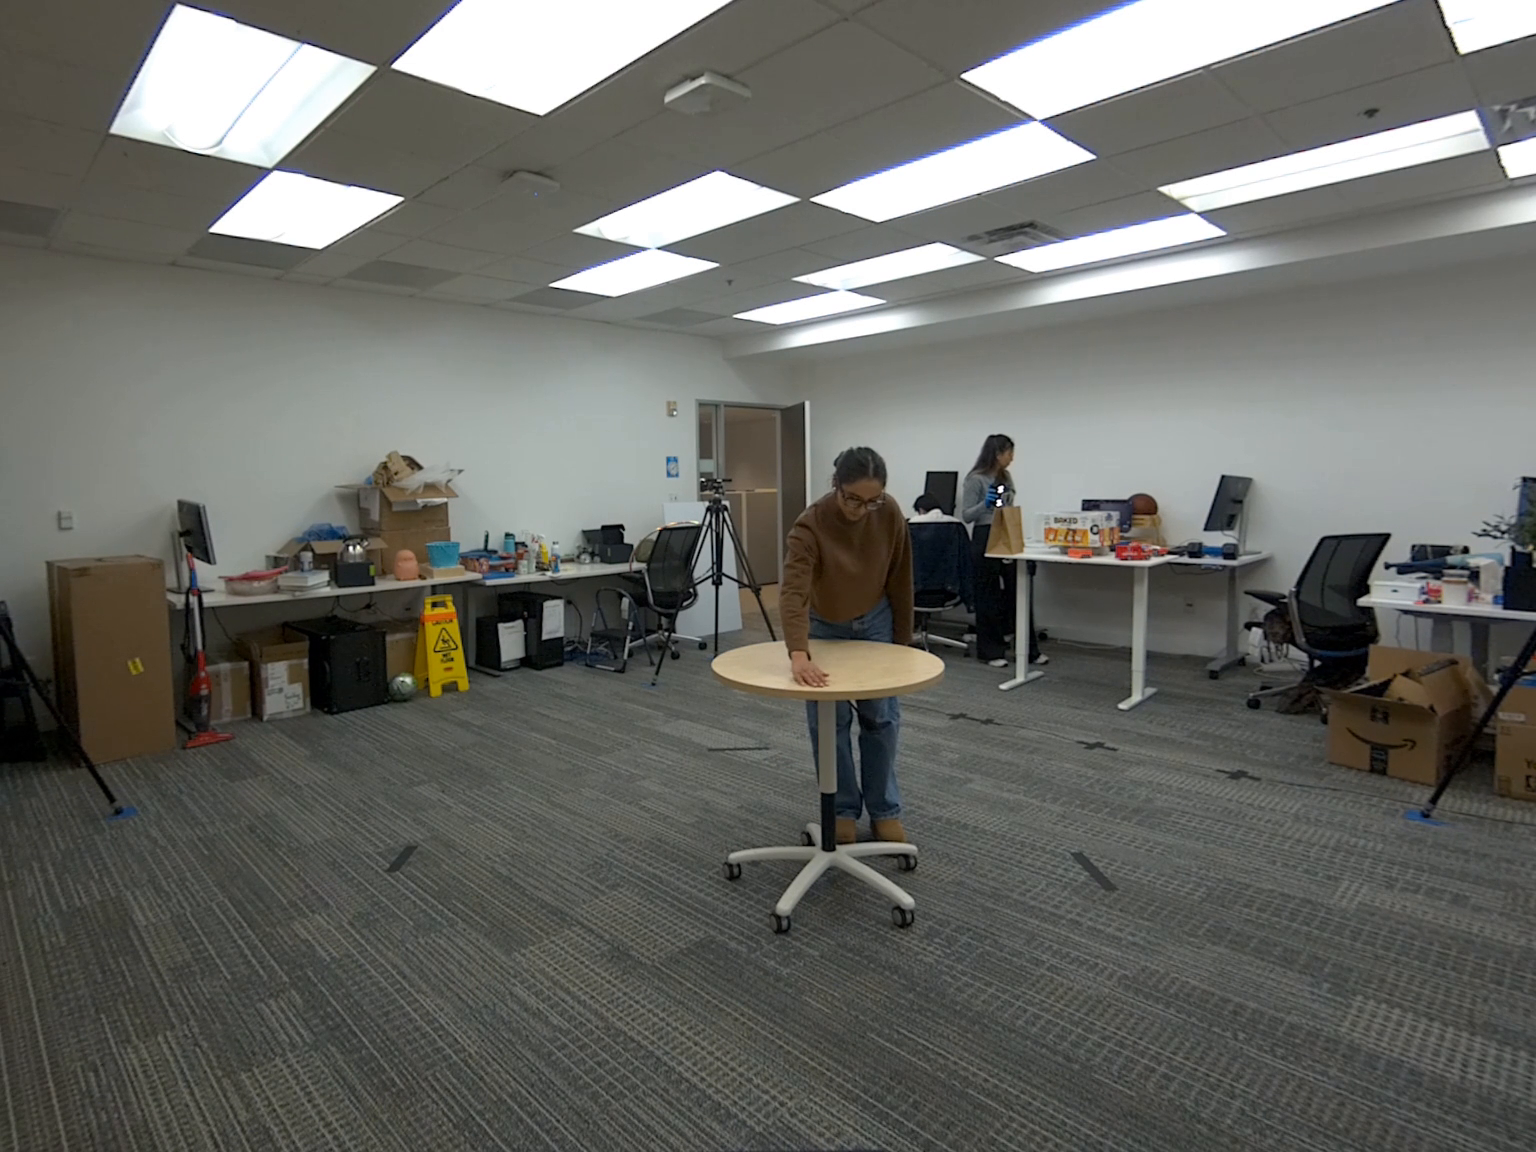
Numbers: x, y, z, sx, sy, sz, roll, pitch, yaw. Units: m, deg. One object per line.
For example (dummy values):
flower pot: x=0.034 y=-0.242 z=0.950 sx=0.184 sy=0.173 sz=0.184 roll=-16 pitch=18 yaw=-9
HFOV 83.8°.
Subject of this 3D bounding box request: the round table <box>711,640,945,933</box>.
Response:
round table: x=0.205 y=0.681 z=2.870 sx=0.763 sy=0.790 sz=0.768 roll=-1 pitch=5 yaw=-2
